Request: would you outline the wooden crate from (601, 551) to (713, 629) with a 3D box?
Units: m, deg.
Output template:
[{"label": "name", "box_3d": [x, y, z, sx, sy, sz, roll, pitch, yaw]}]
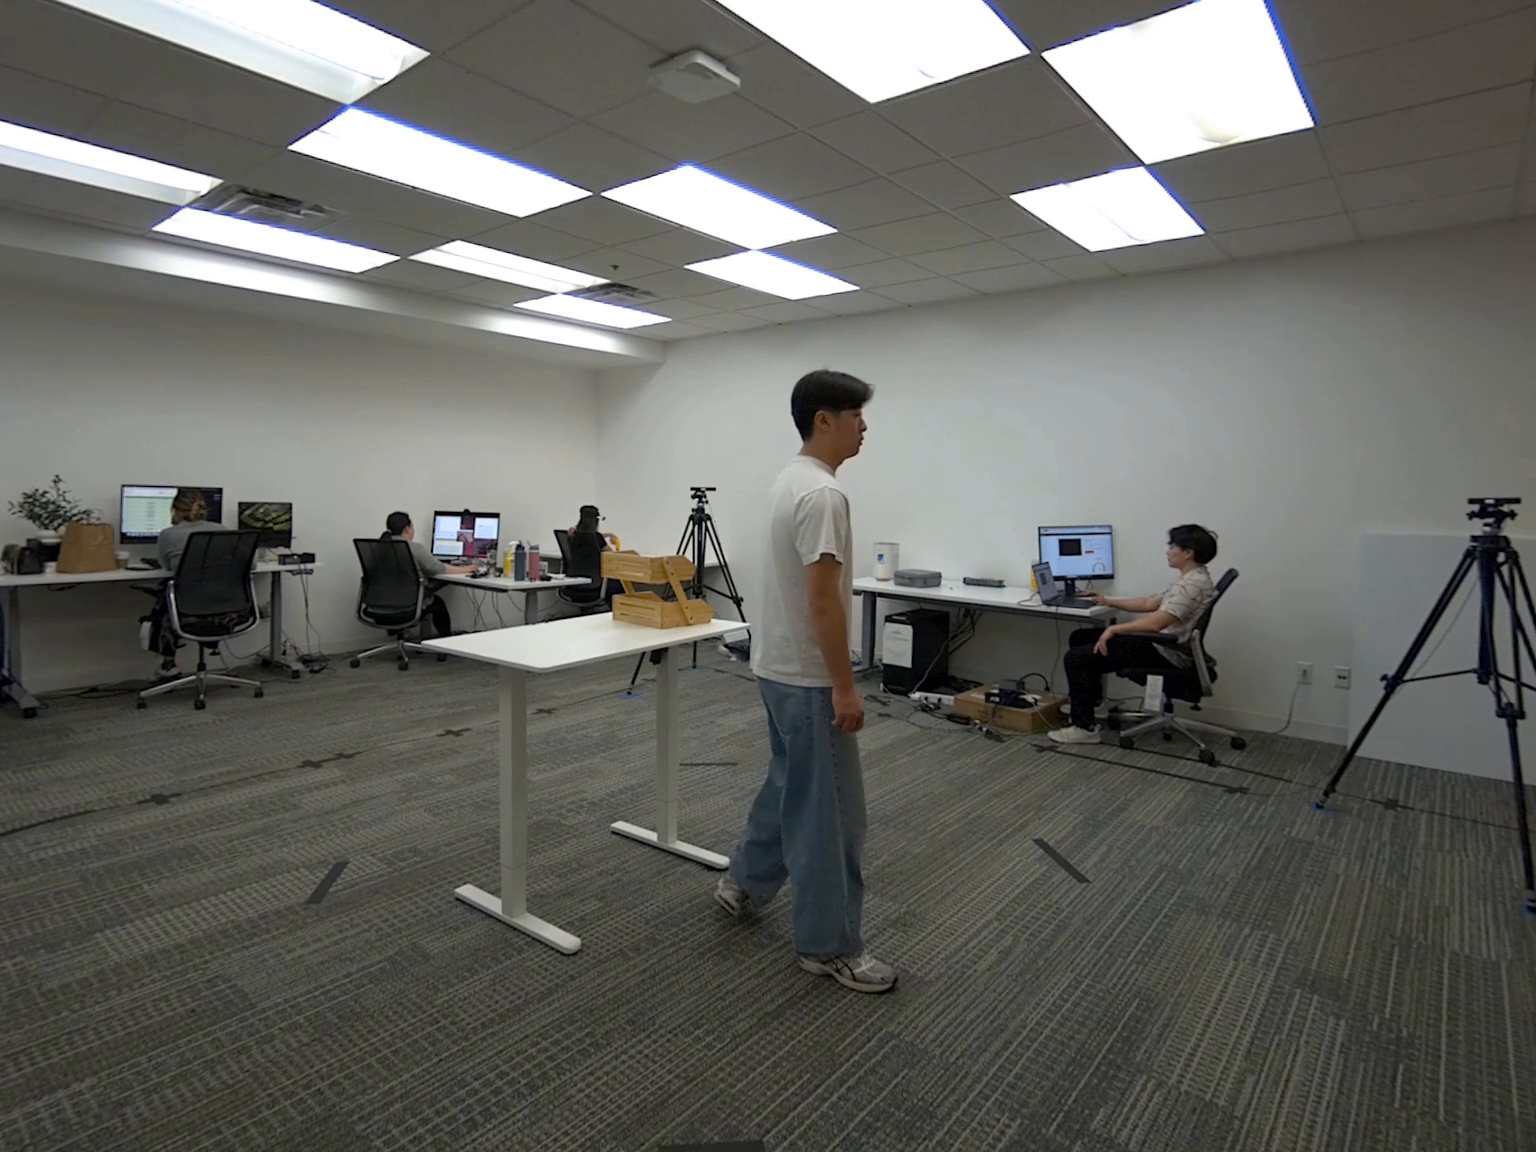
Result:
[{"label": "wooden crate", "box_3d": [-0.422, 0.036, 3.183, 0.335, 0.272, 0.293, 5, 7, 45]}]
